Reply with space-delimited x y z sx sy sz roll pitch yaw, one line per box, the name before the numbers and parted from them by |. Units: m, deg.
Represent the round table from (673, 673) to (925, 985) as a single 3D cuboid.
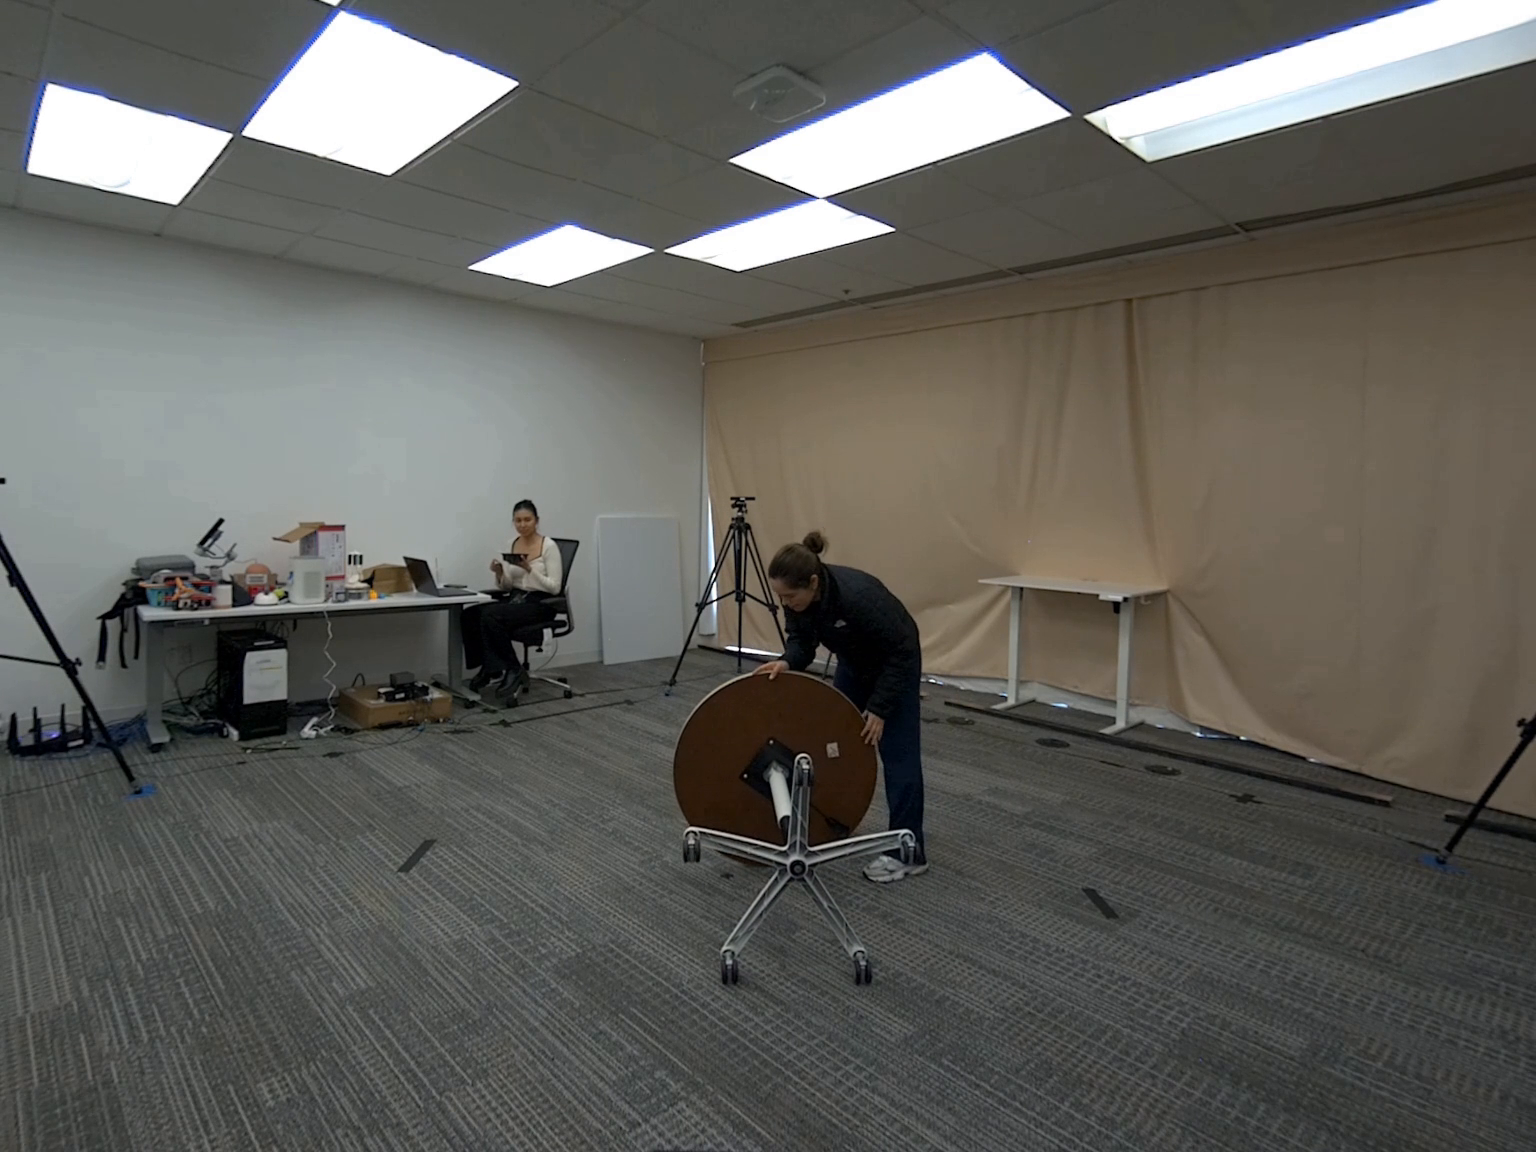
round table | 0.054 0.809 2.749 0.784 0.780 0.793 1 10 -3
